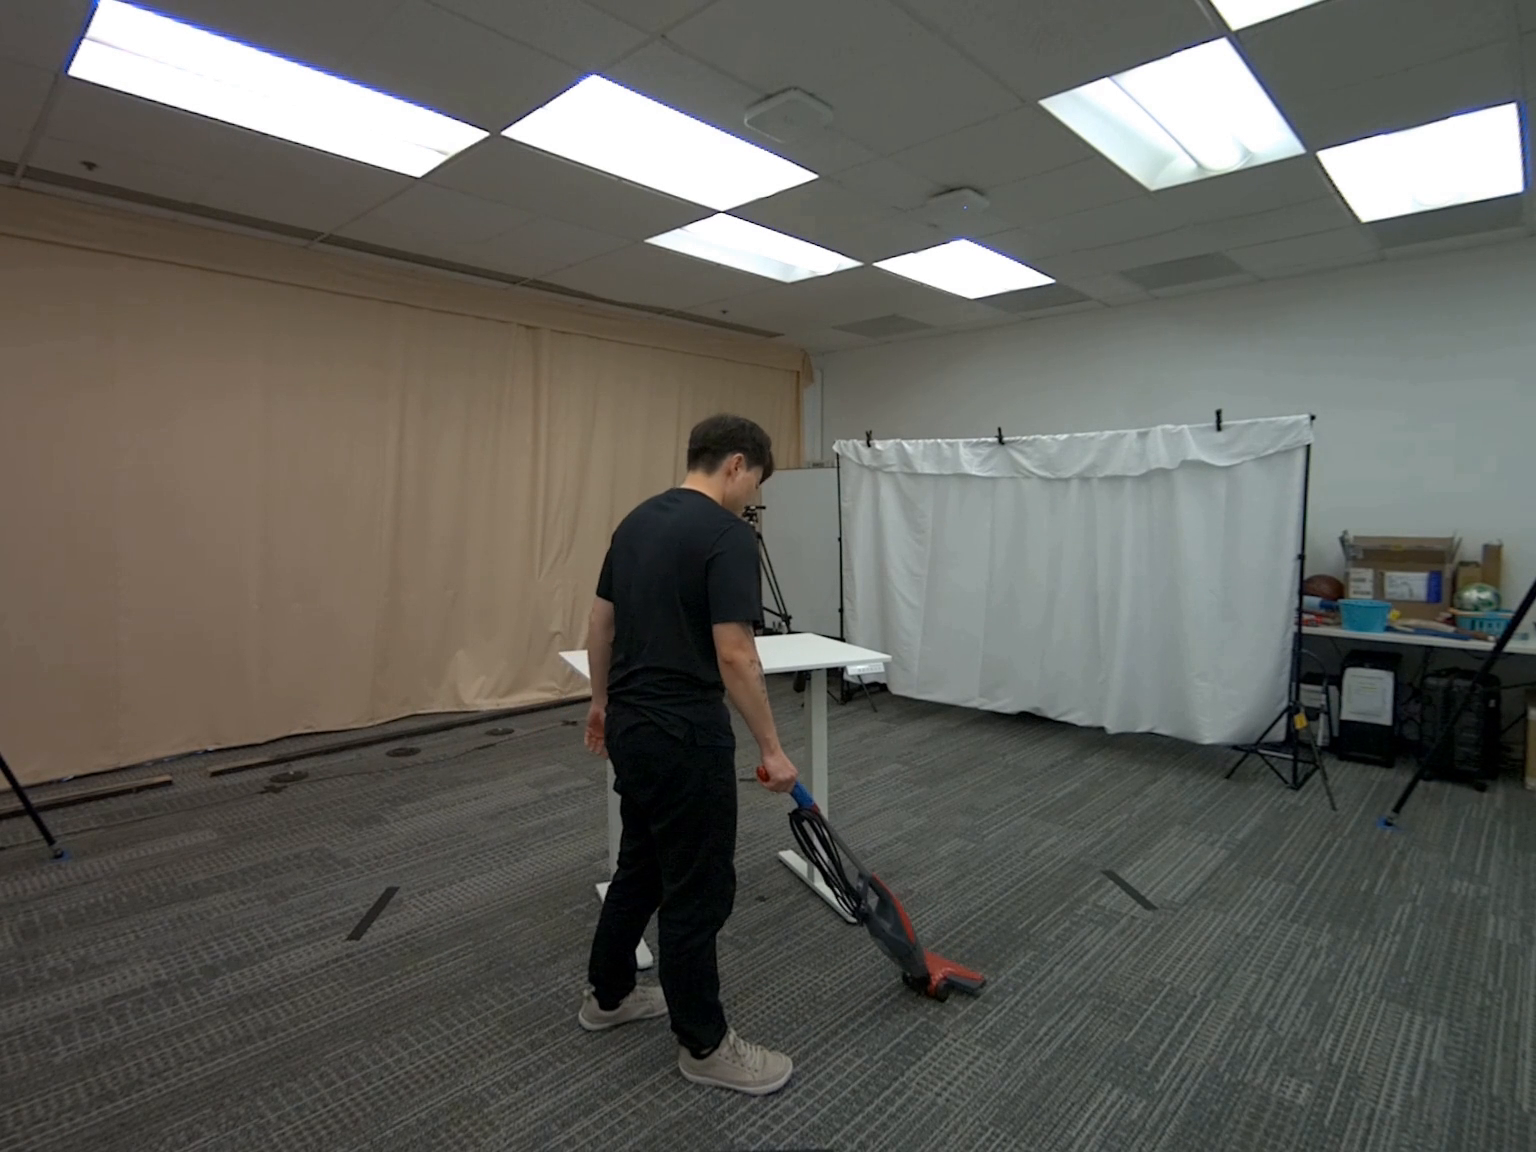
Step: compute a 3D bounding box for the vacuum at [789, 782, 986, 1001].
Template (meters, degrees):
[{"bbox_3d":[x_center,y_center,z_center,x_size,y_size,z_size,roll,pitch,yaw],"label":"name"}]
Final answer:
[{"bbox_3d":[0.242,0.826,2.191,0.261,1.019,0.143,1,47,47],"label":"vacuum"}]
